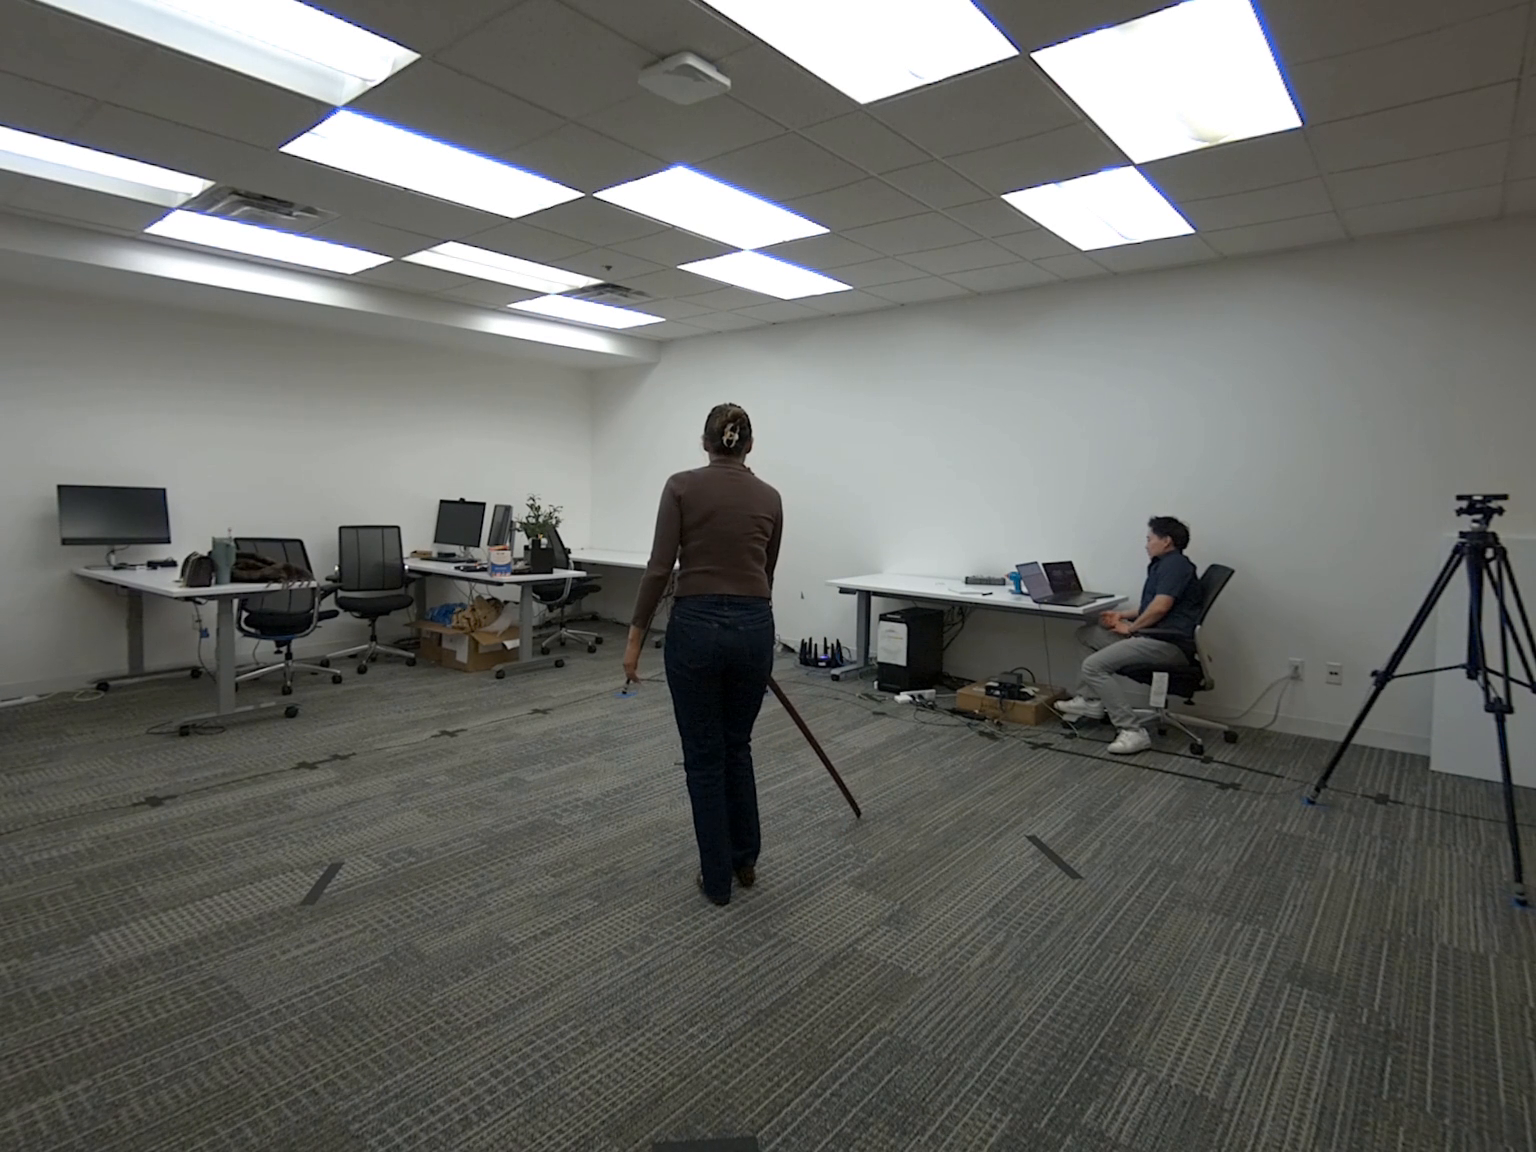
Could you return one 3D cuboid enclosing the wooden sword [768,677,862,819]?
[{"bbox_3d":[0.151,0.638,3.421,0.053,0.994,0.024,0,39,50],"label":"wooden sword"}]
